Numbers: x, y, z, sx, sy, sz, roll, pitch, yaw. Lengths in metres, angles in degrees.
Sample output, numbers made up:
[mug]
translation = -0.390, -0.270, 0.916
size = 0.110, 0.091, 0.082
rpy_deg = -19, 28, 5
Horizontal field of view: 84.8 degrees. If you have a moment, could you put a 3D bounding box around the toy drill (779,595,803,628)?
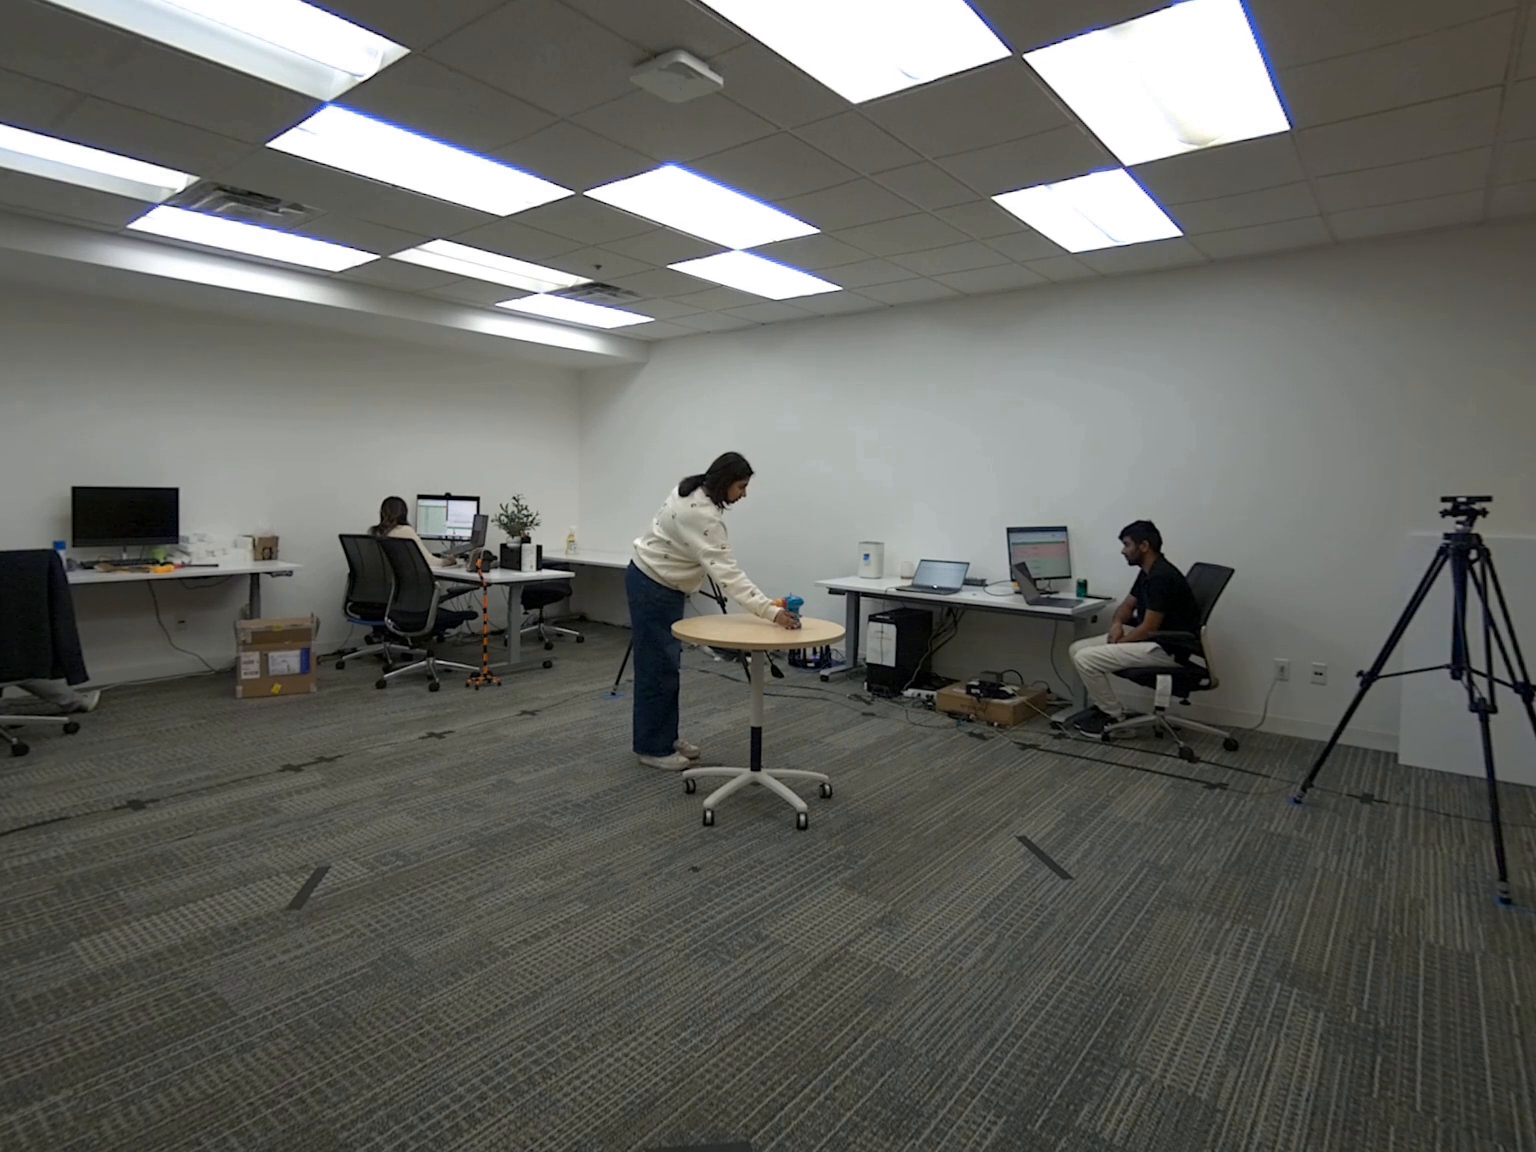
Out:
[toy drill]
translation = 0.077, 0.153, 3.740
size = 0.166, 0.145, 0.063
rpy_deg = -1, 6, -22
